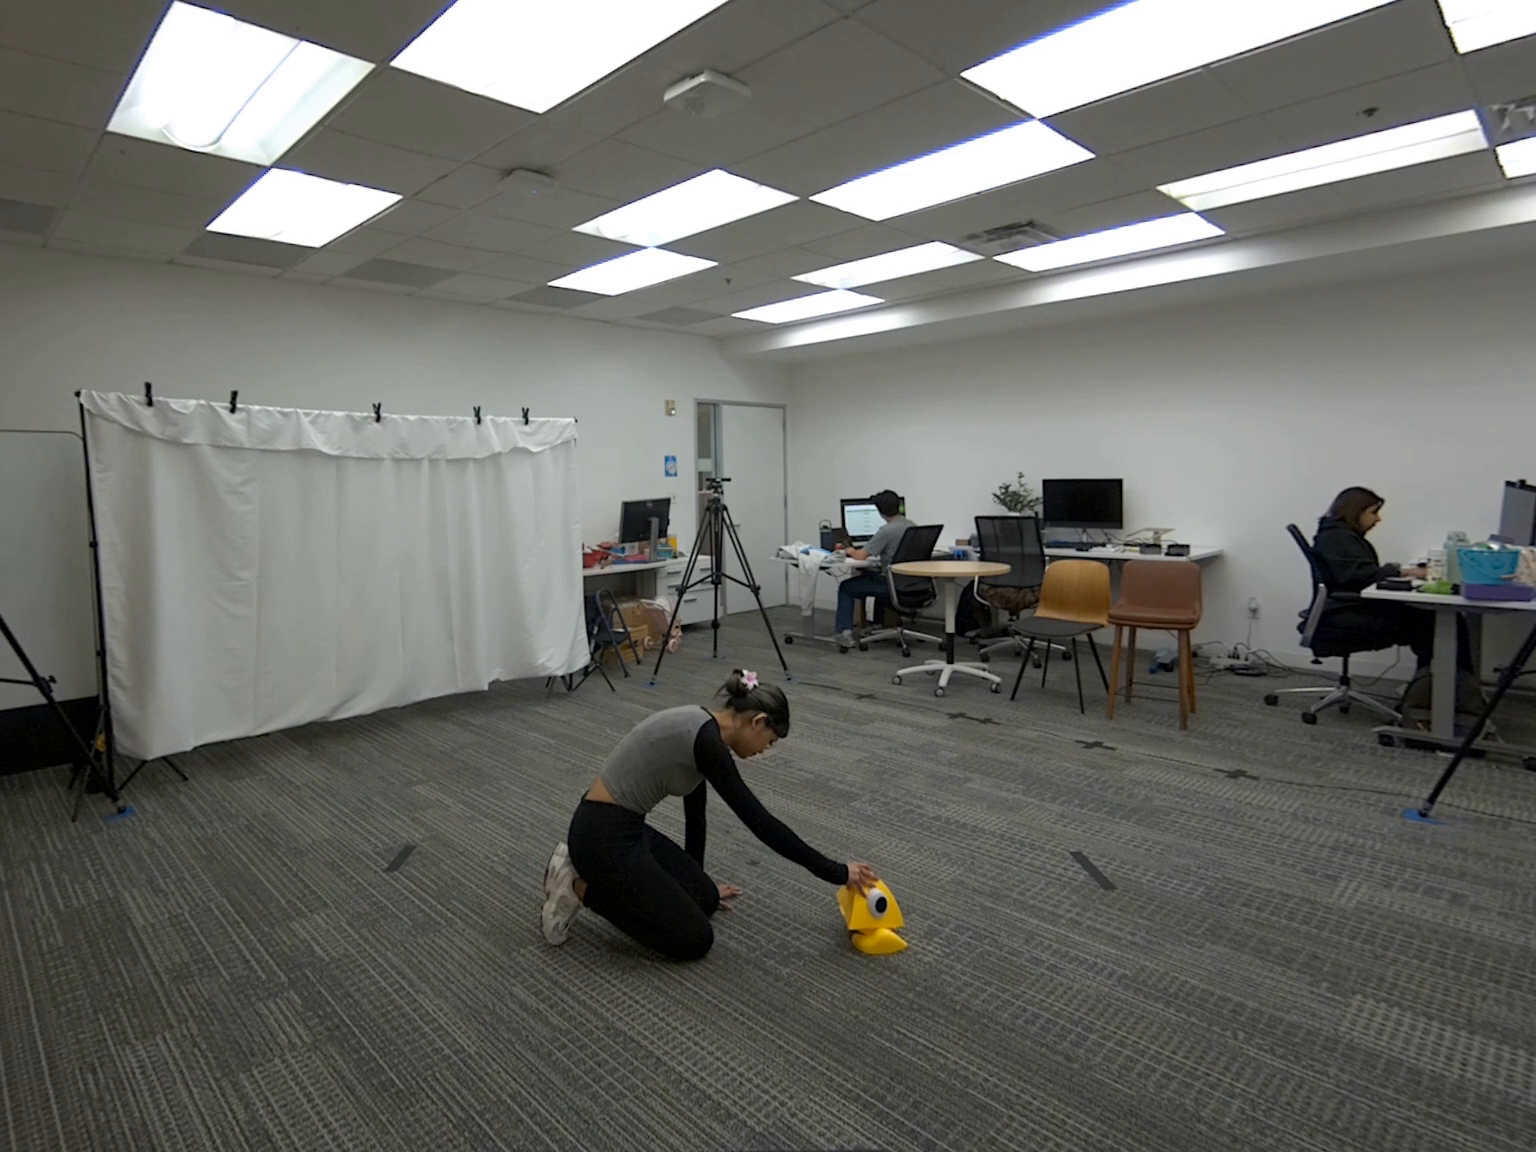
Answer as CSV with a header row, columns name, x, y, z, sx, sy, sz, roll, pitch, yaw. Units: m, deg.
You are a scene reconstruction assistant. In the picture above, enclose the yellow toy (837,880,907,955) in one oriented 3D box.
name,x,y,z,sx,sy,sz,roll,pitch,yaw
yellow toy,0.312,0.975,2.594,0.192,0.230,0.206,-3,4,-4
